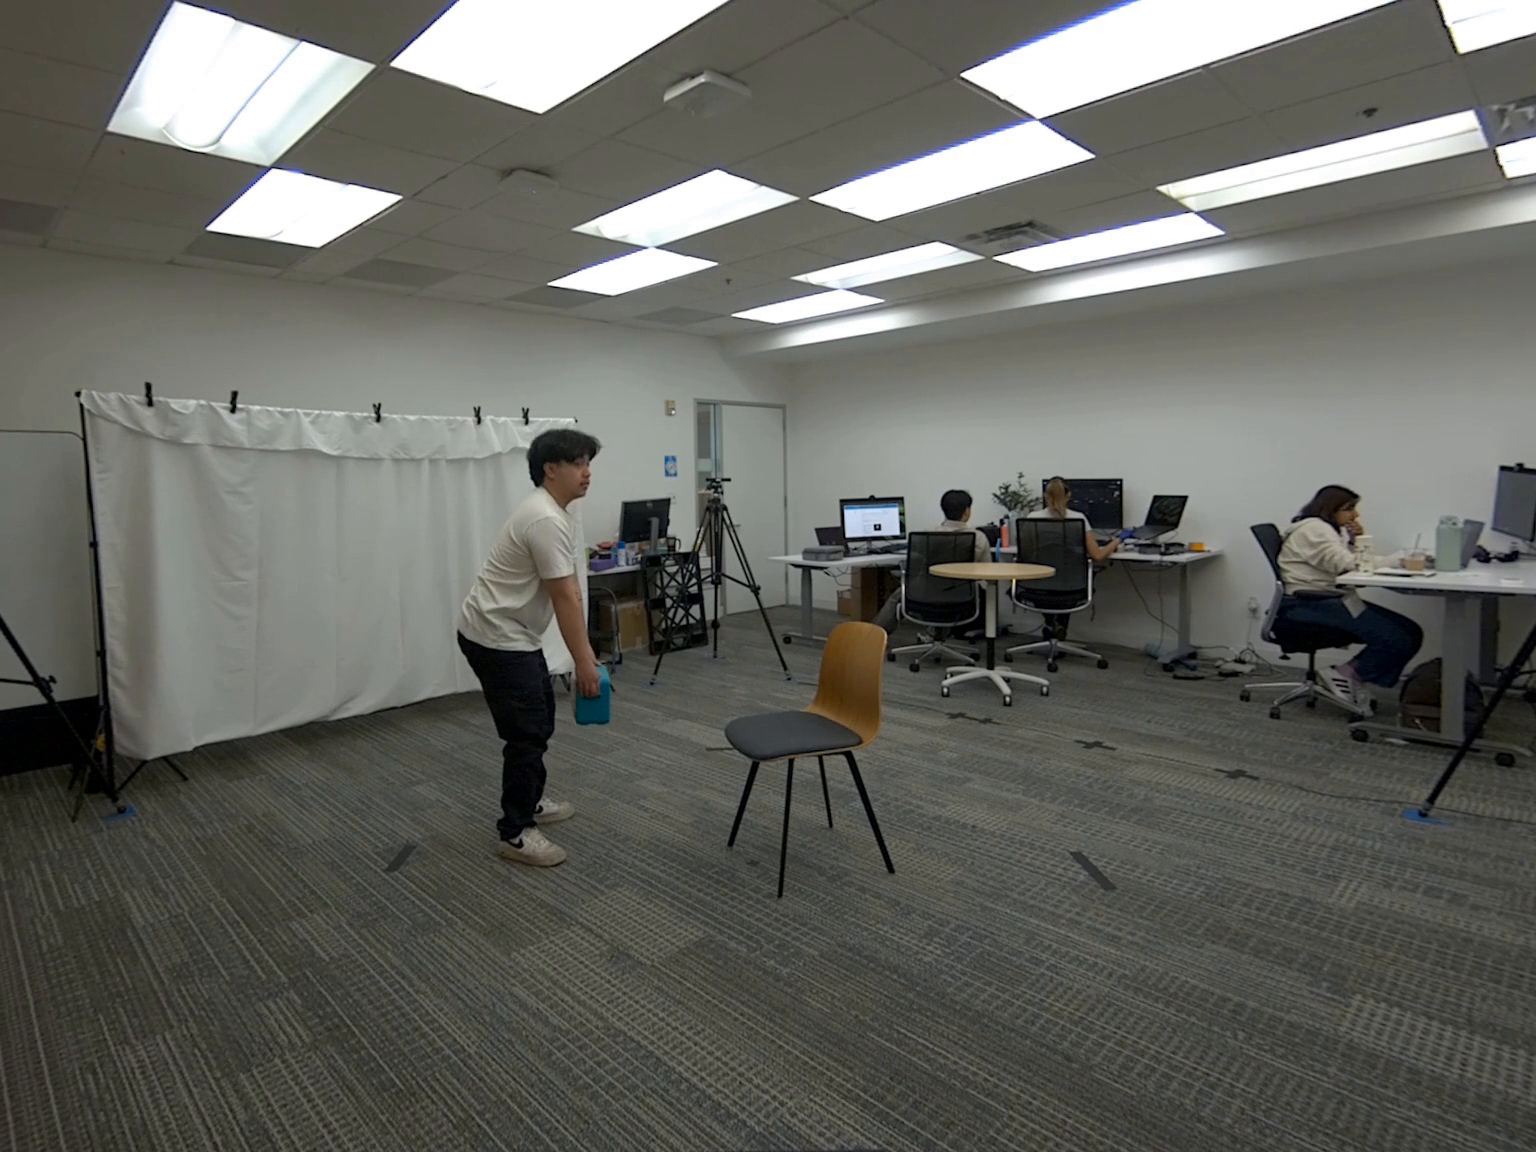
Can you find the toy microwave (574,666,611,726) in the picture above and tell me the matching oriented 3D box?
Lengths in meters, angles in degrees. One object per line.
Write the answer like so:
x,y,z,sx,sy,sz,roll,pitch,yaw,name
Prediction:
-0.696,0.465,3.354,0.151,0.183,0.290,-1,6,-11,toy microwave
